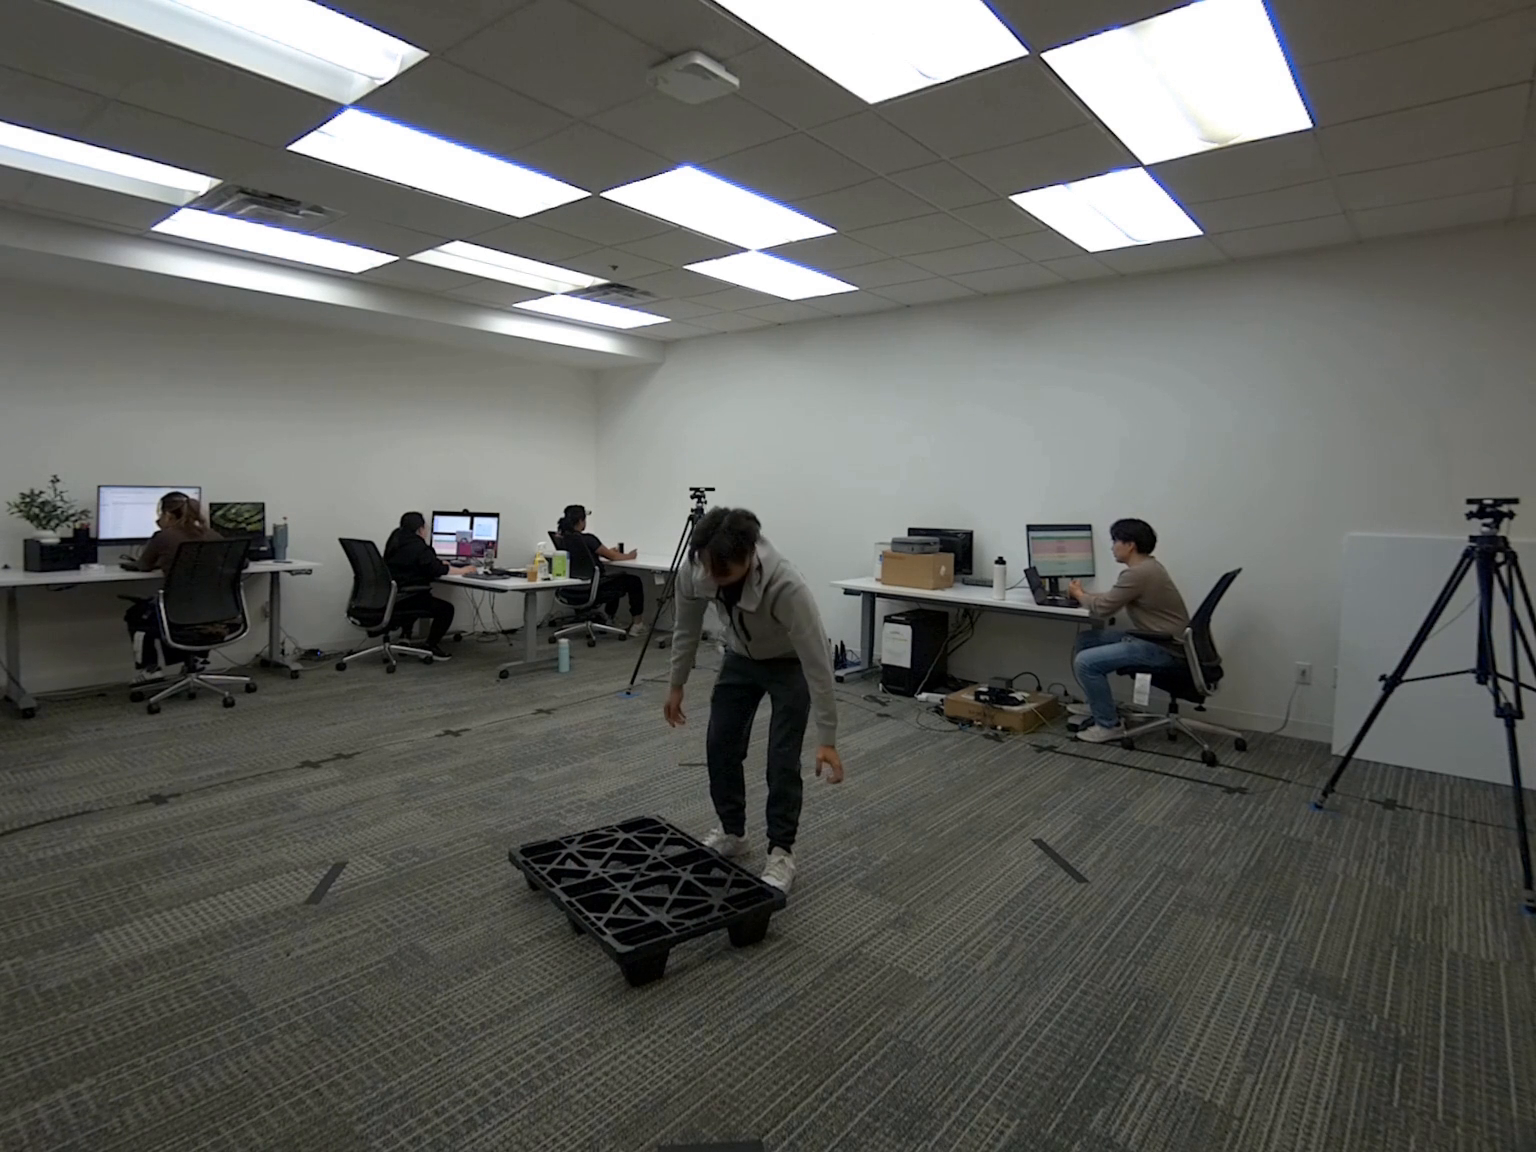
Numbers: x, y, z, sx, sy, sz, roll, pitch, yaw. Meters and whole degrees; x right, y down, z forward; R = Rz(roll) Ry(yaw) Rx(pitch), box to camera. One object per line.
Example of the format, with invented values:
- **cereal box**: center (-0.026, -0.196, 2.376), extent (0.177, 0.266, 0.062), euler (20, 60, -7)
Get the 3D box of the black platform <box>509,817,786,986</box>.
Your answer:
- **black platform**: center (-0.429, 1.030, 2.789), extent (0.587, 0.143, 0.833), euler (-3, 6, -37)
